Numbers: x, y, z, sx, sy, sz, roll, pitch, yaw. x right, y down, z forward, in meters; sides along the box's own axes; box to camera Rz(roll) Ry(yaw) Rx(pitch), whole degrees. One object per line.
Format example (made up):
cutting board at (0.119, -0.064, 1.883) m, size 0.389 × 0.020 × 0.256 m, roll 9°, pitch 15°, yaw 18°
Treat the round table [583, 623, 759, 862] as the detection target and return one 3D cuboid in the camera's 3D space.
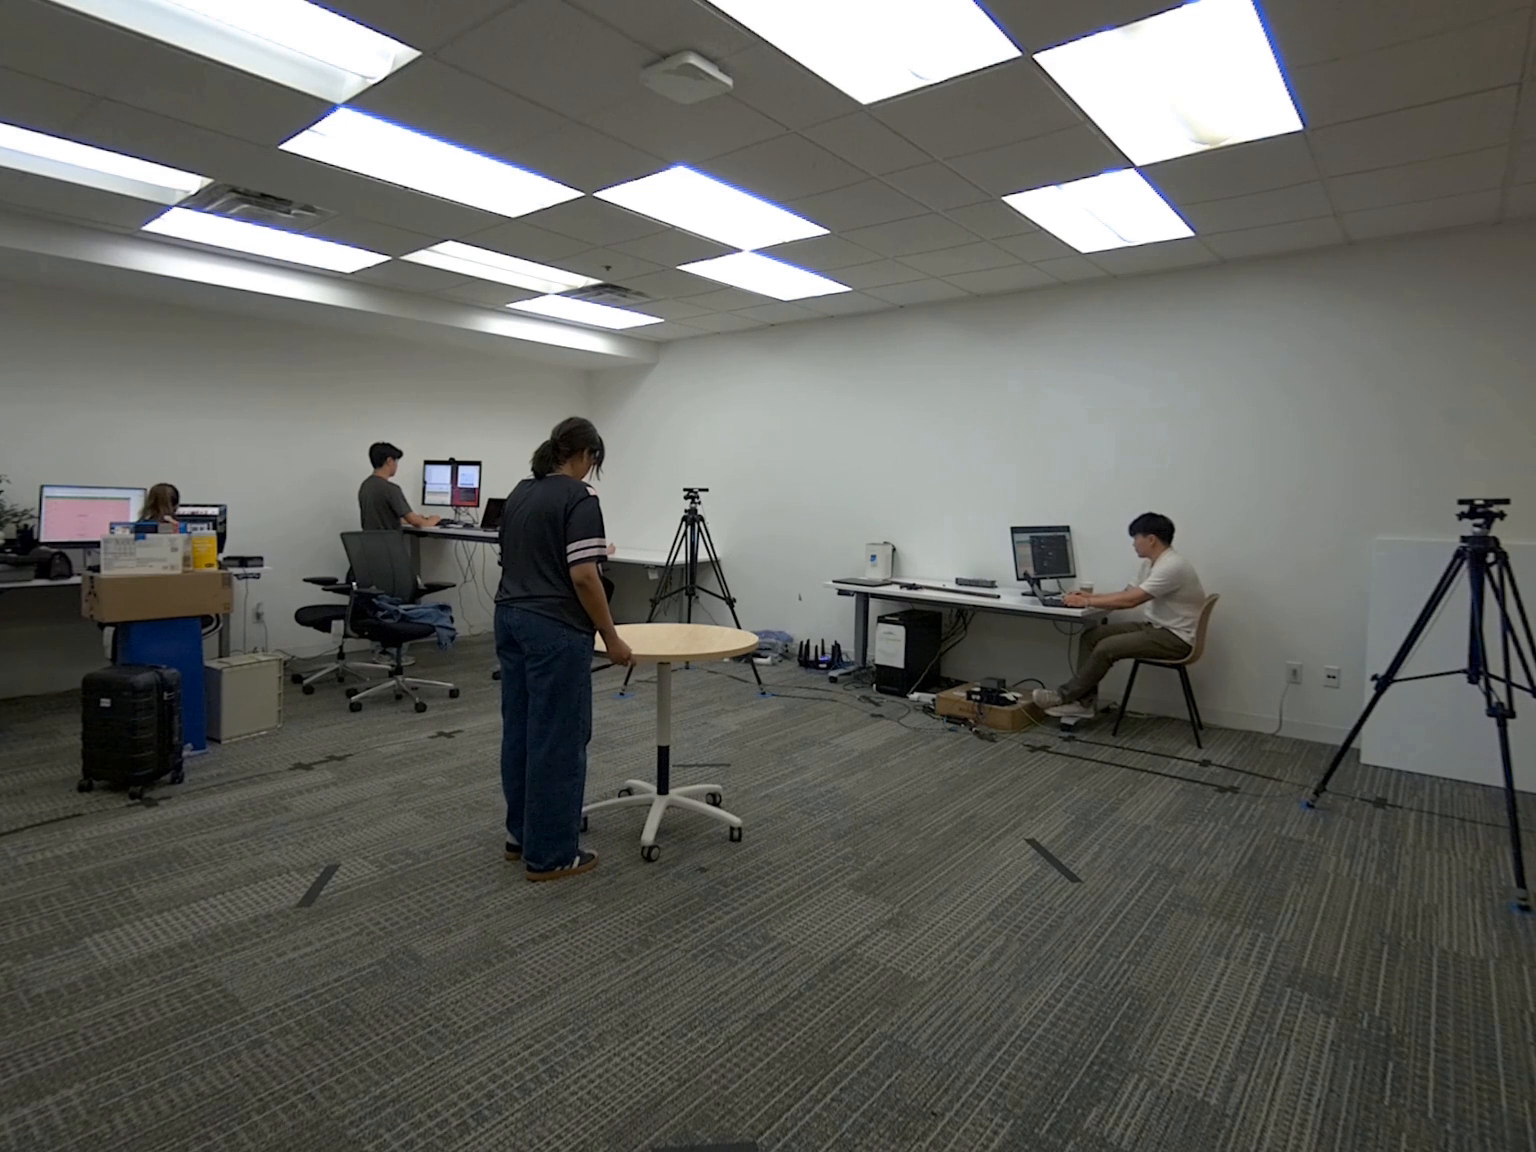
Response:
round table at (-0.433, 0.640, 3.480) m, size 0.763 × 0.792 × 0.767 m, roll 1°, pitch 4°, yaw -2°
